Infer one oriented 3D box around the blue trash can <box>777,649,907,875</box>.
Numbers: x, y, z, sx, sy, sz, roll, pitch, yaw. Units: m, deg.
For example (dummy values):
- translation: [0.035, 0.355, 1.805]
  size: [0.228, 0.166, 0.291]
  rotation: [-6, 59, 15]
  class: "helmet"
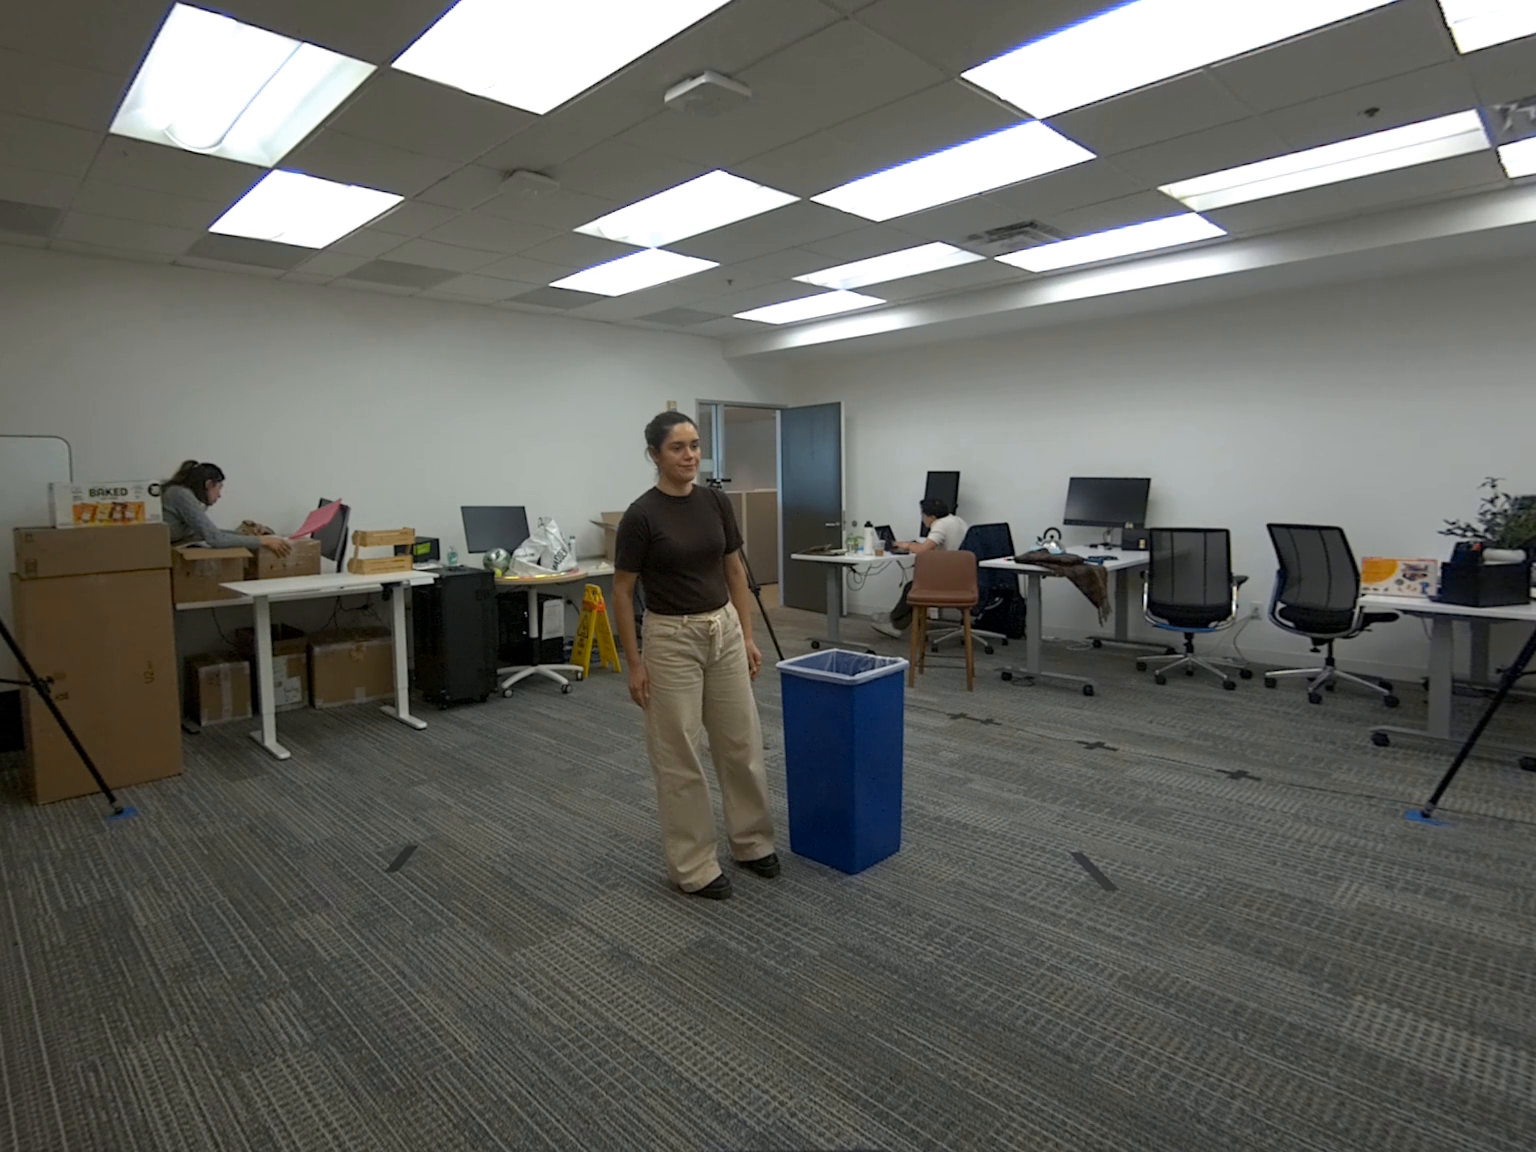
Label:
- translation: [0.284, 0.673, 3.172]
  size: [0.389, 0.711, 0.364]
  rotation: [2, 5, 44]
  class: "blue trash can"
